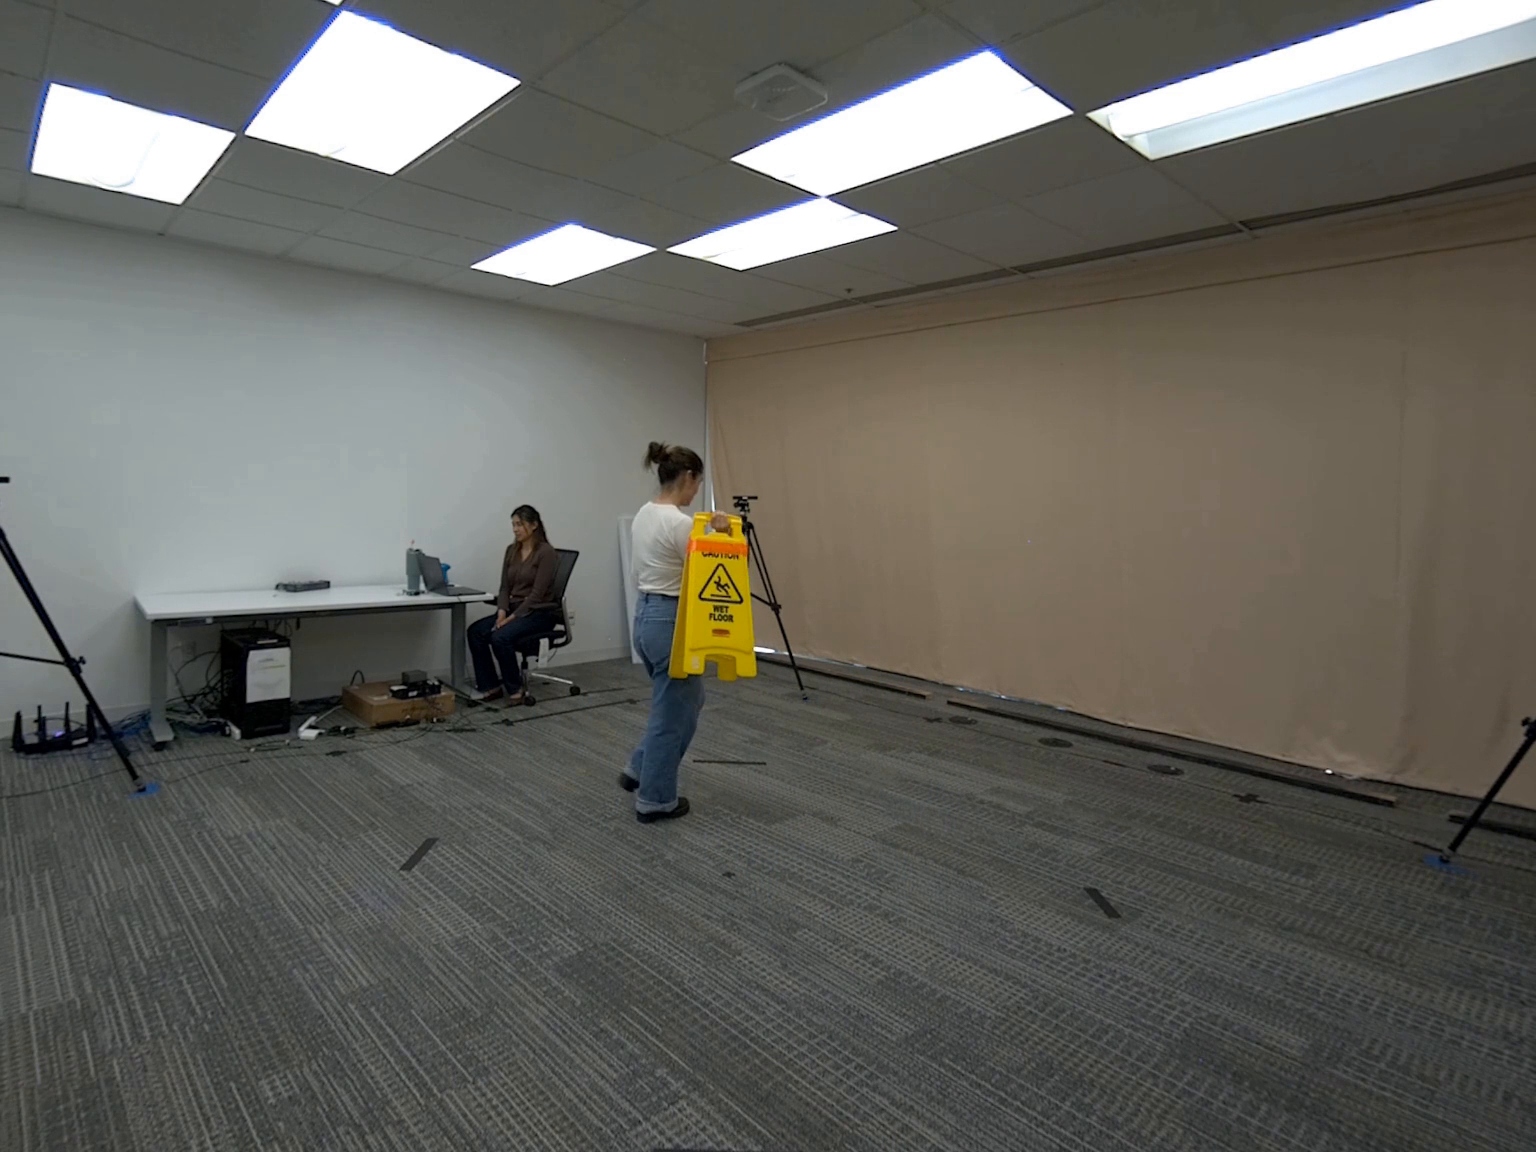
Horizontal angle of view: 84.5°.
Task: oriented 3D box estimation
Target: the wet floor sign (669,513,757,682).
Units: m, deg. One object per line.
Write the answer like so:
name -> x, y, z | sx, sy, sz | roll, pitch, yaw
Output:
wet floor sign -> -0.218, 0.072, 3.304 | 0.278, 0.652, 0.291 | 6, -13, -17
